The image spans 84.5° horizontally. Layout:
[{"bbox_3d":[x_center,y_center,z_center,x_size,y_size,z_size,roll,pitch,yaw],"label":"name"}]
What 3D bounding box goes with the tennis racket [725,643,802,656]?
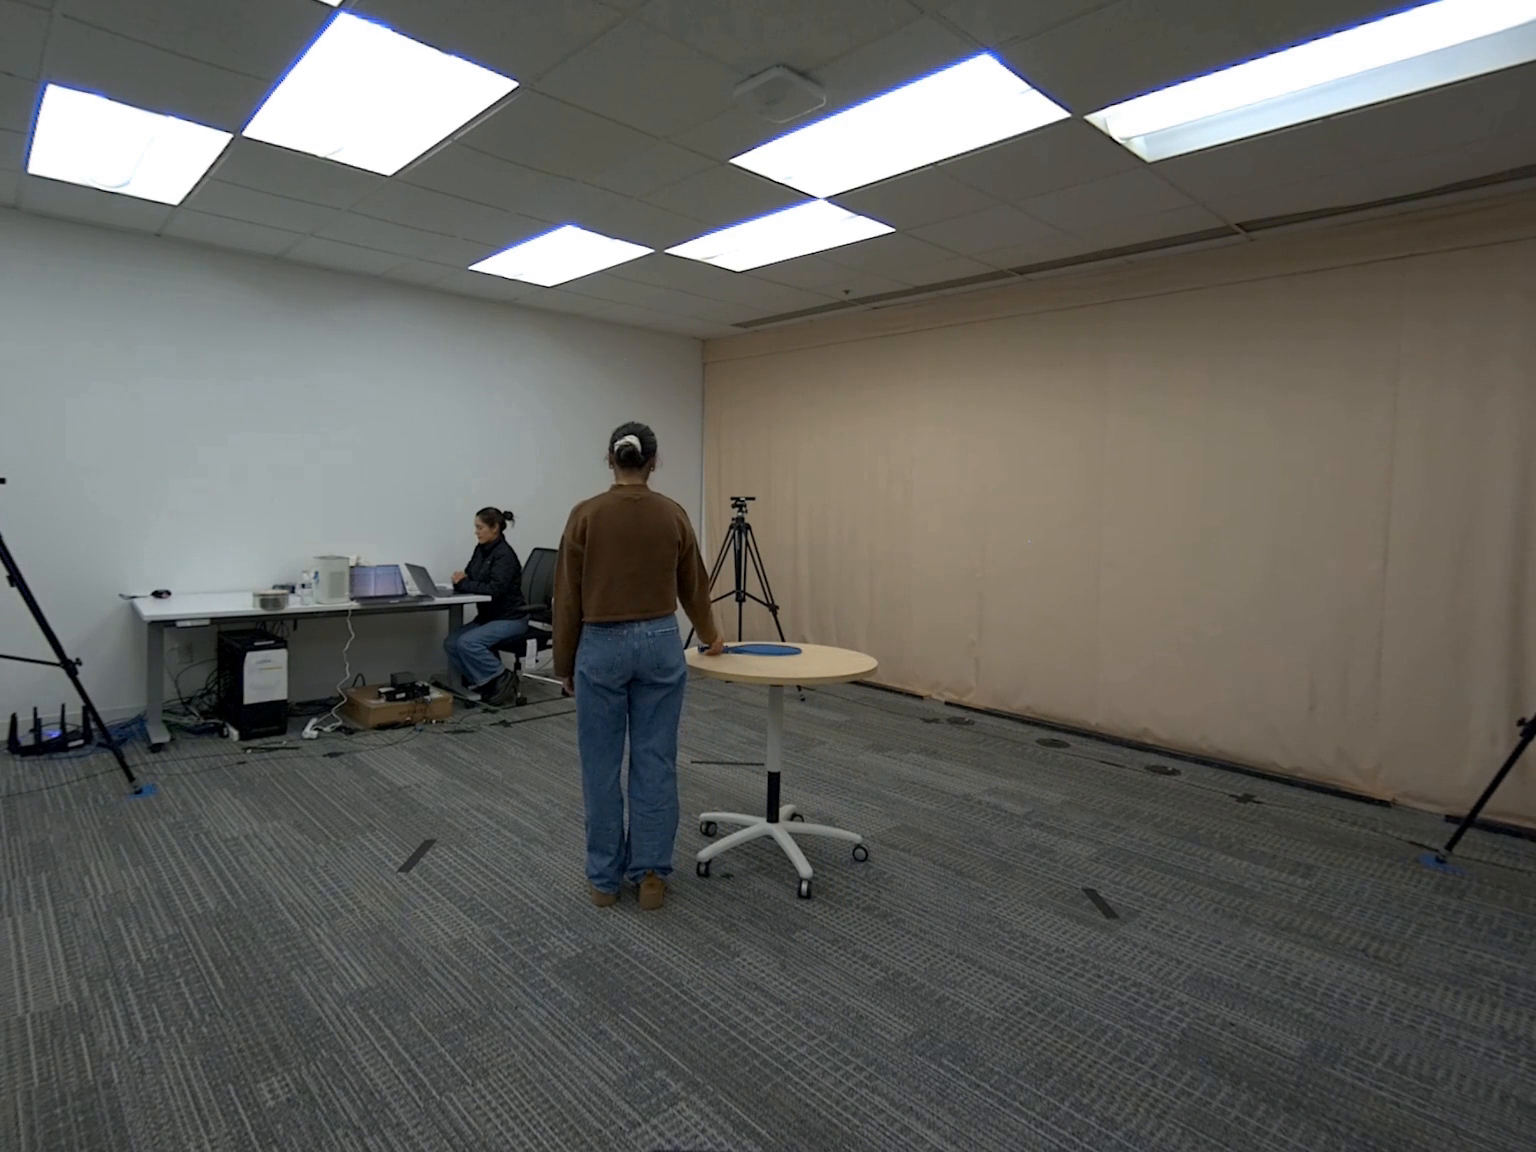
[{"bbox_3d":[-0.076,0.296,3.358,0.426,0.032,0.217,1,4,-21],"label":"tennis racket"}]
